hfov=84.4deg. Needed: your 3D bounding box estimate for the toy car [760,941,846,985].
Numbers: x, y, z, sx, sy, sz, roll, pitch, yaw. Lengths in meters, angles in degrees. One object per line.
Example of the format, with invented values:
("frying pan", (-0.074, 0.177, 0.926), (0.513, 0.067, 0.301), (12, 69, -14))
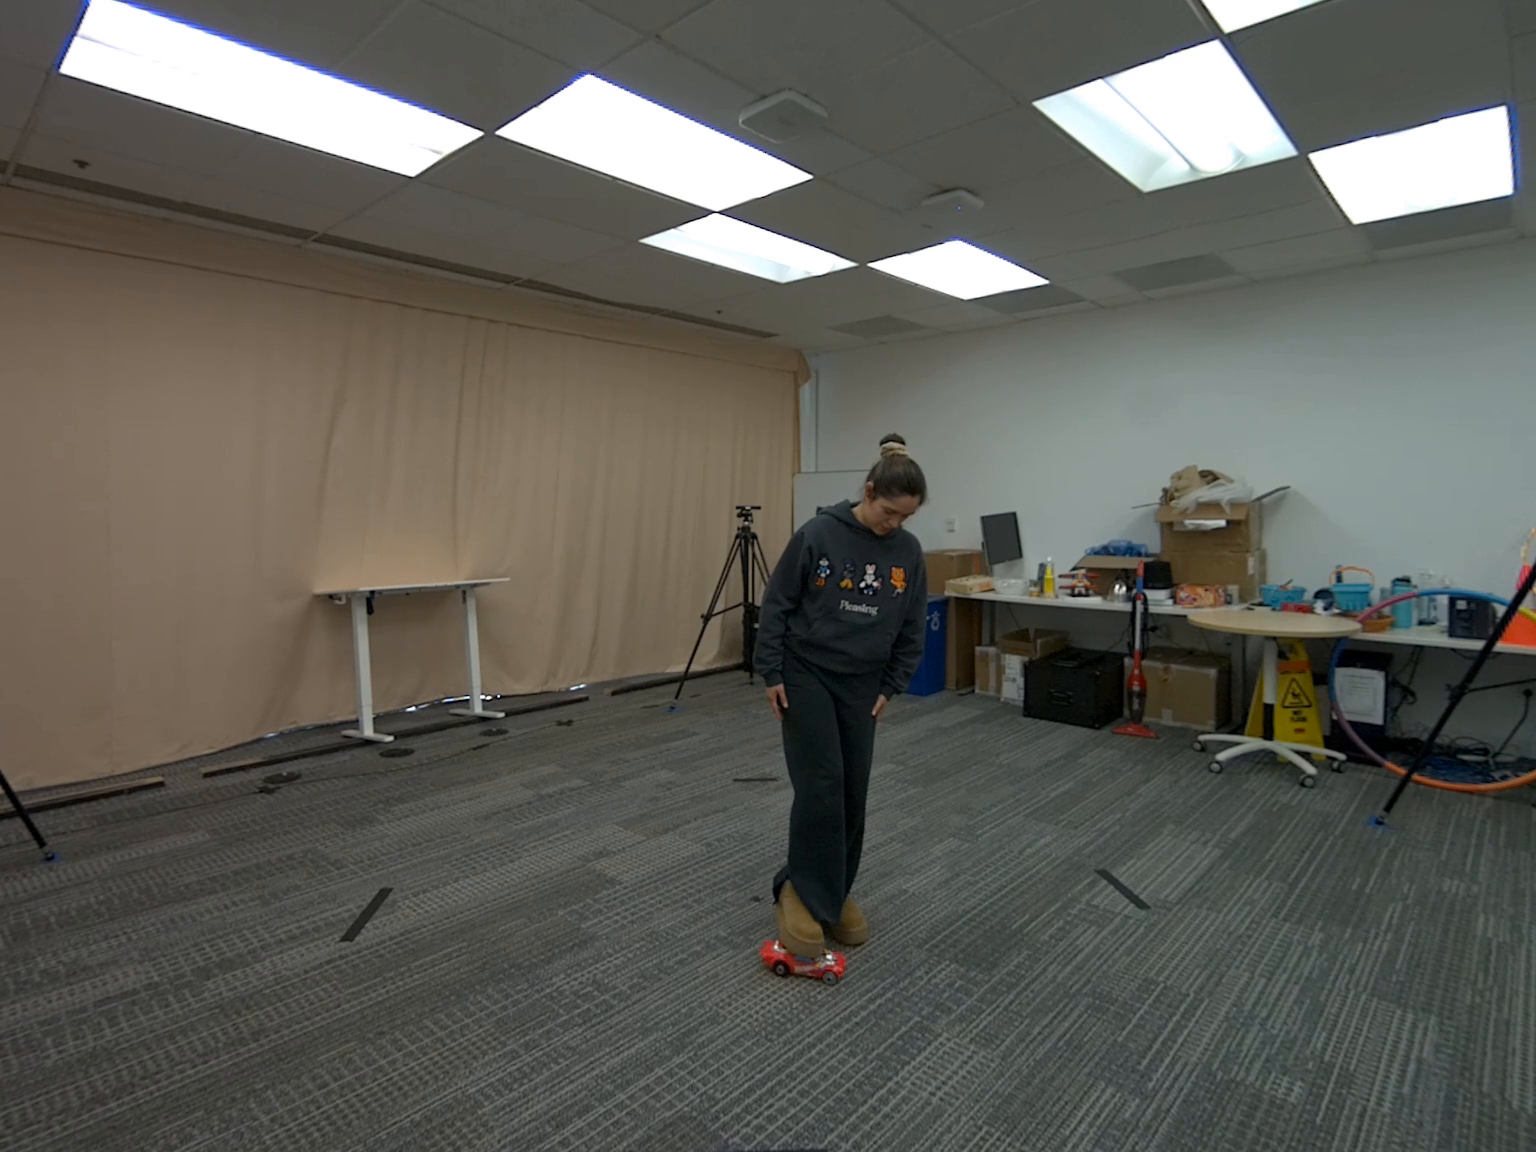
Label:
("toy car", (0.117, 1.150, 2.521), (0.259, 0.083, 0.128), (13, 7, 15))
